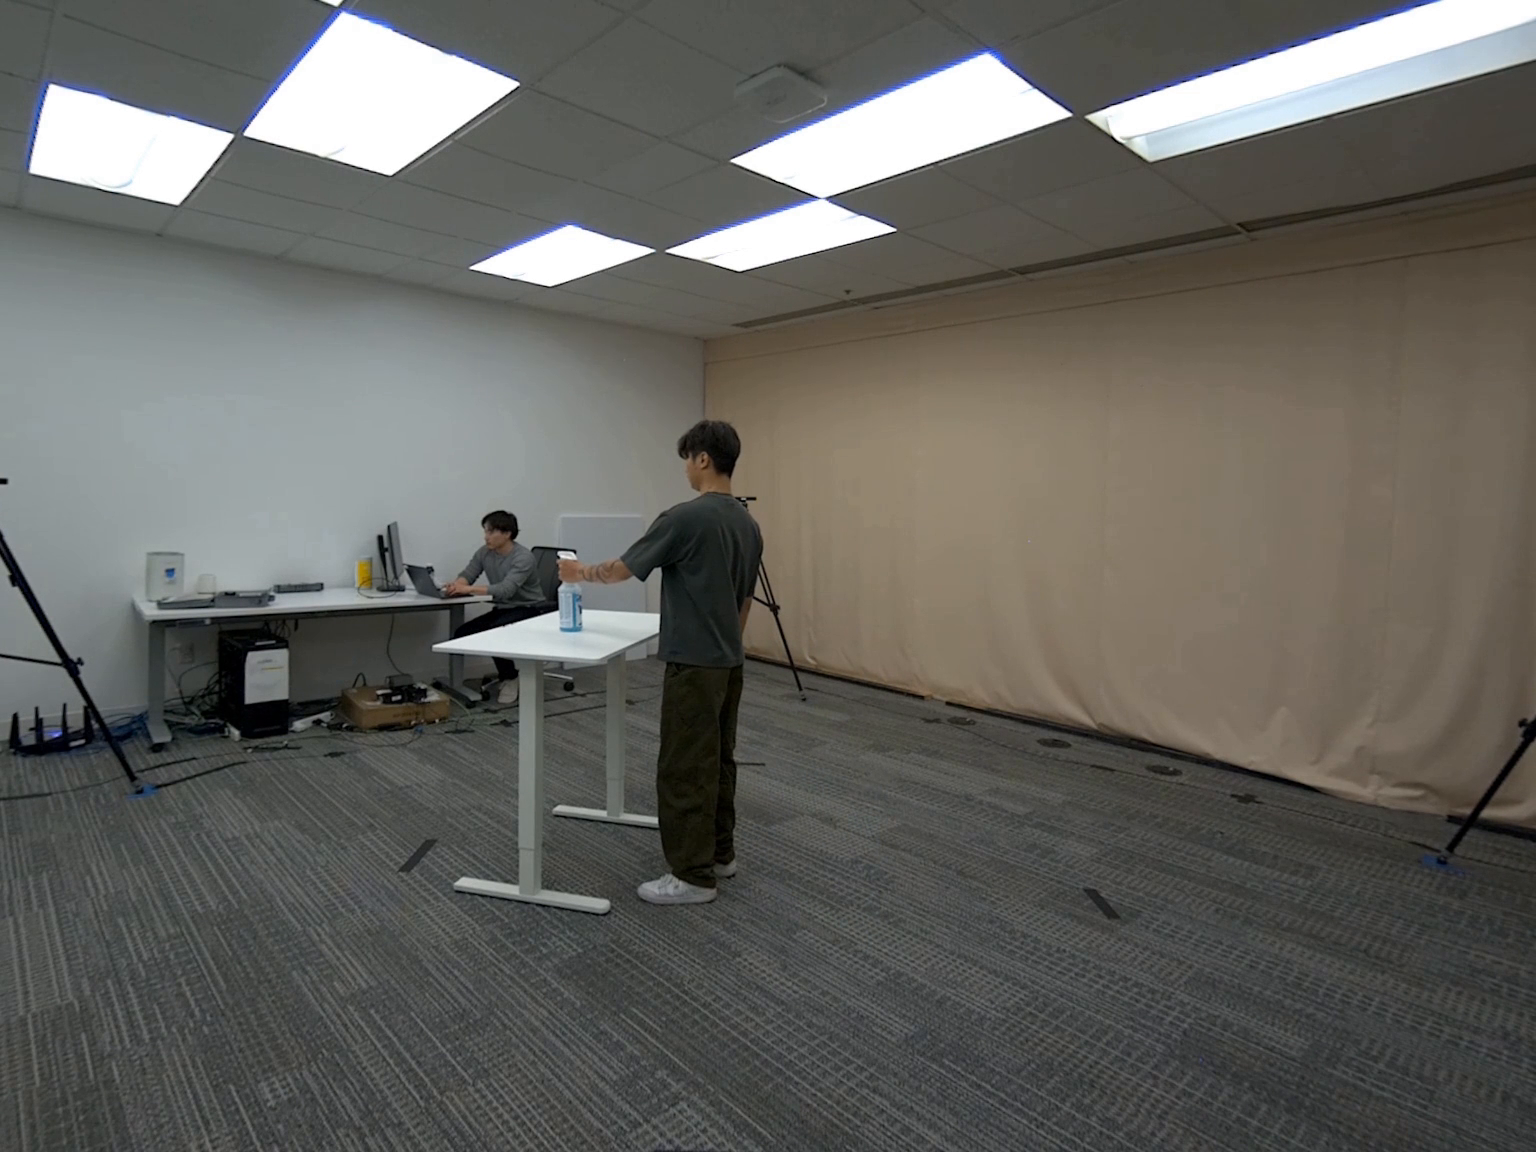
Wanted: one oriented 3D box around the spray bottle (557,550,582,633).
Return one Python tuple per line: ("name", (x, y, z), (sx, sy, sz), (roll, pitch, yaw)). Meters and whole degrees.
("spray bottle", (-0.746, 0.058, 3.165), (0.085, 0.297, 0.092), (-2, 1, -33))
